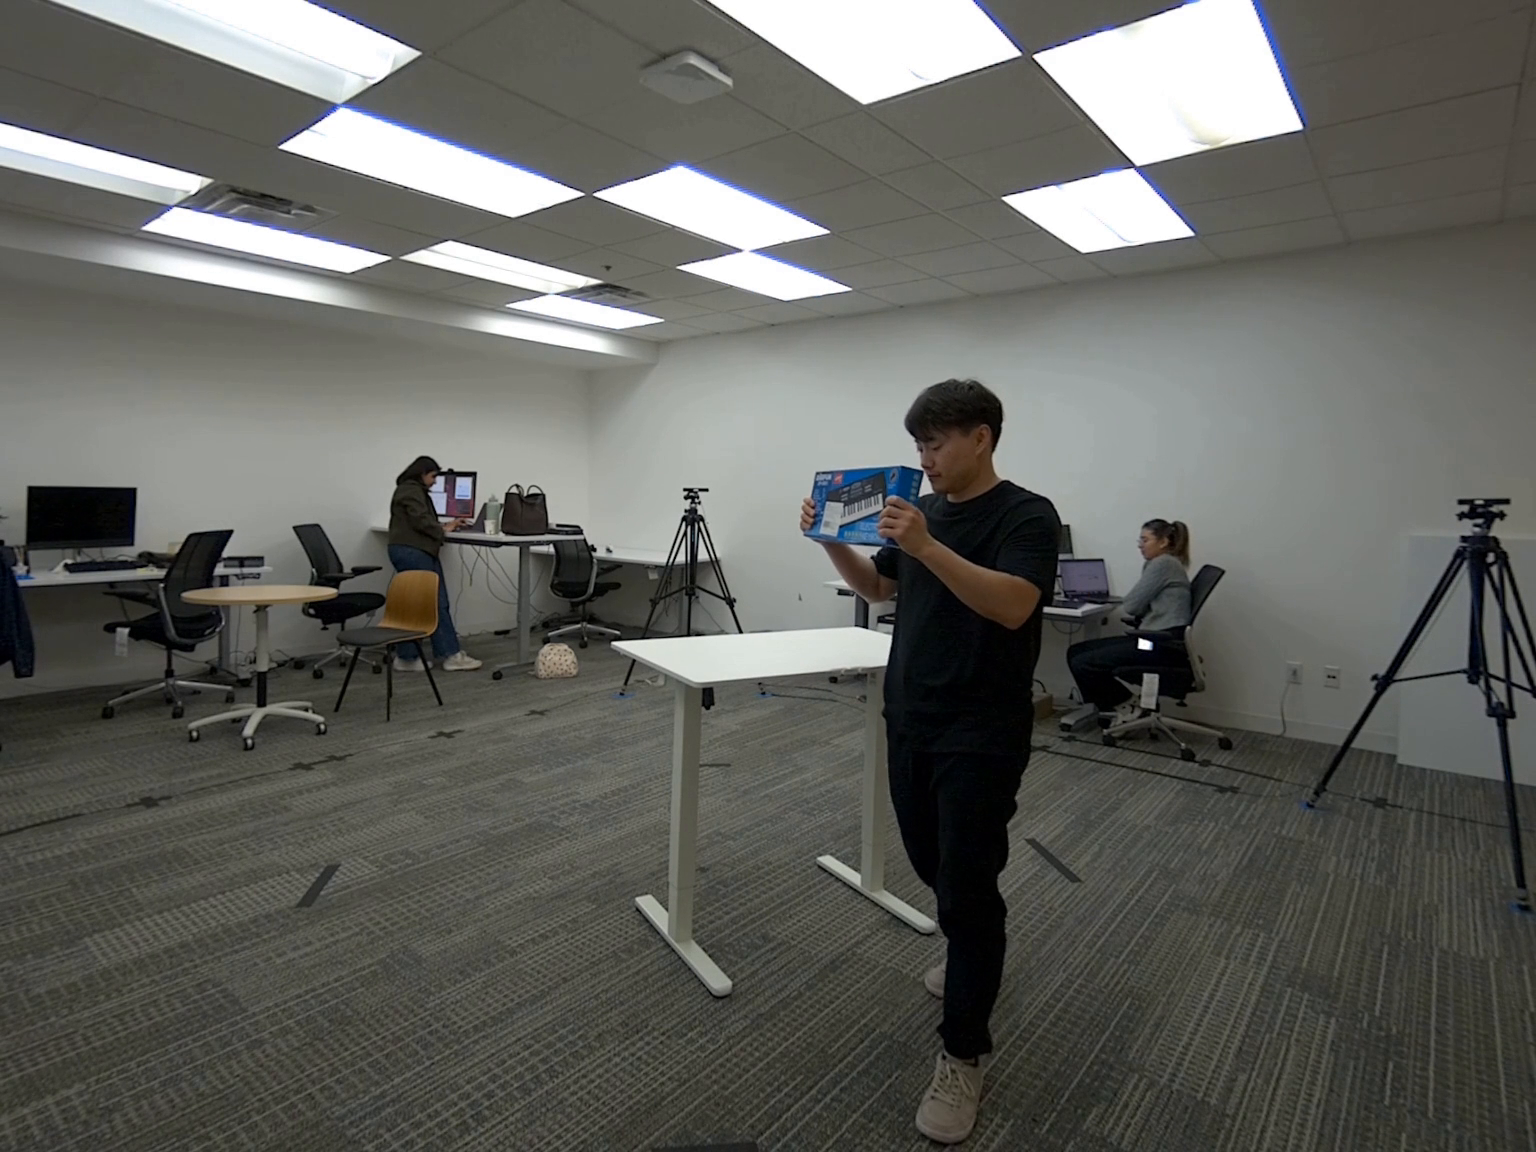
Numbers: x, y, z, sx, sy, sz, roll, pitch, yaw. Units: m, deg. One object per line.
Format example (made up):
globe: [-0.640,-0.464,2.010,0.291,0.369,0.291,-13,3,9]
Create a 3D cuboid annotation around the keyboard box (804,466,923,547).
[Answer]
keyboard box: [0.208,-0.155,1.989,0.058,0.176,0.447,10,0,-21]
